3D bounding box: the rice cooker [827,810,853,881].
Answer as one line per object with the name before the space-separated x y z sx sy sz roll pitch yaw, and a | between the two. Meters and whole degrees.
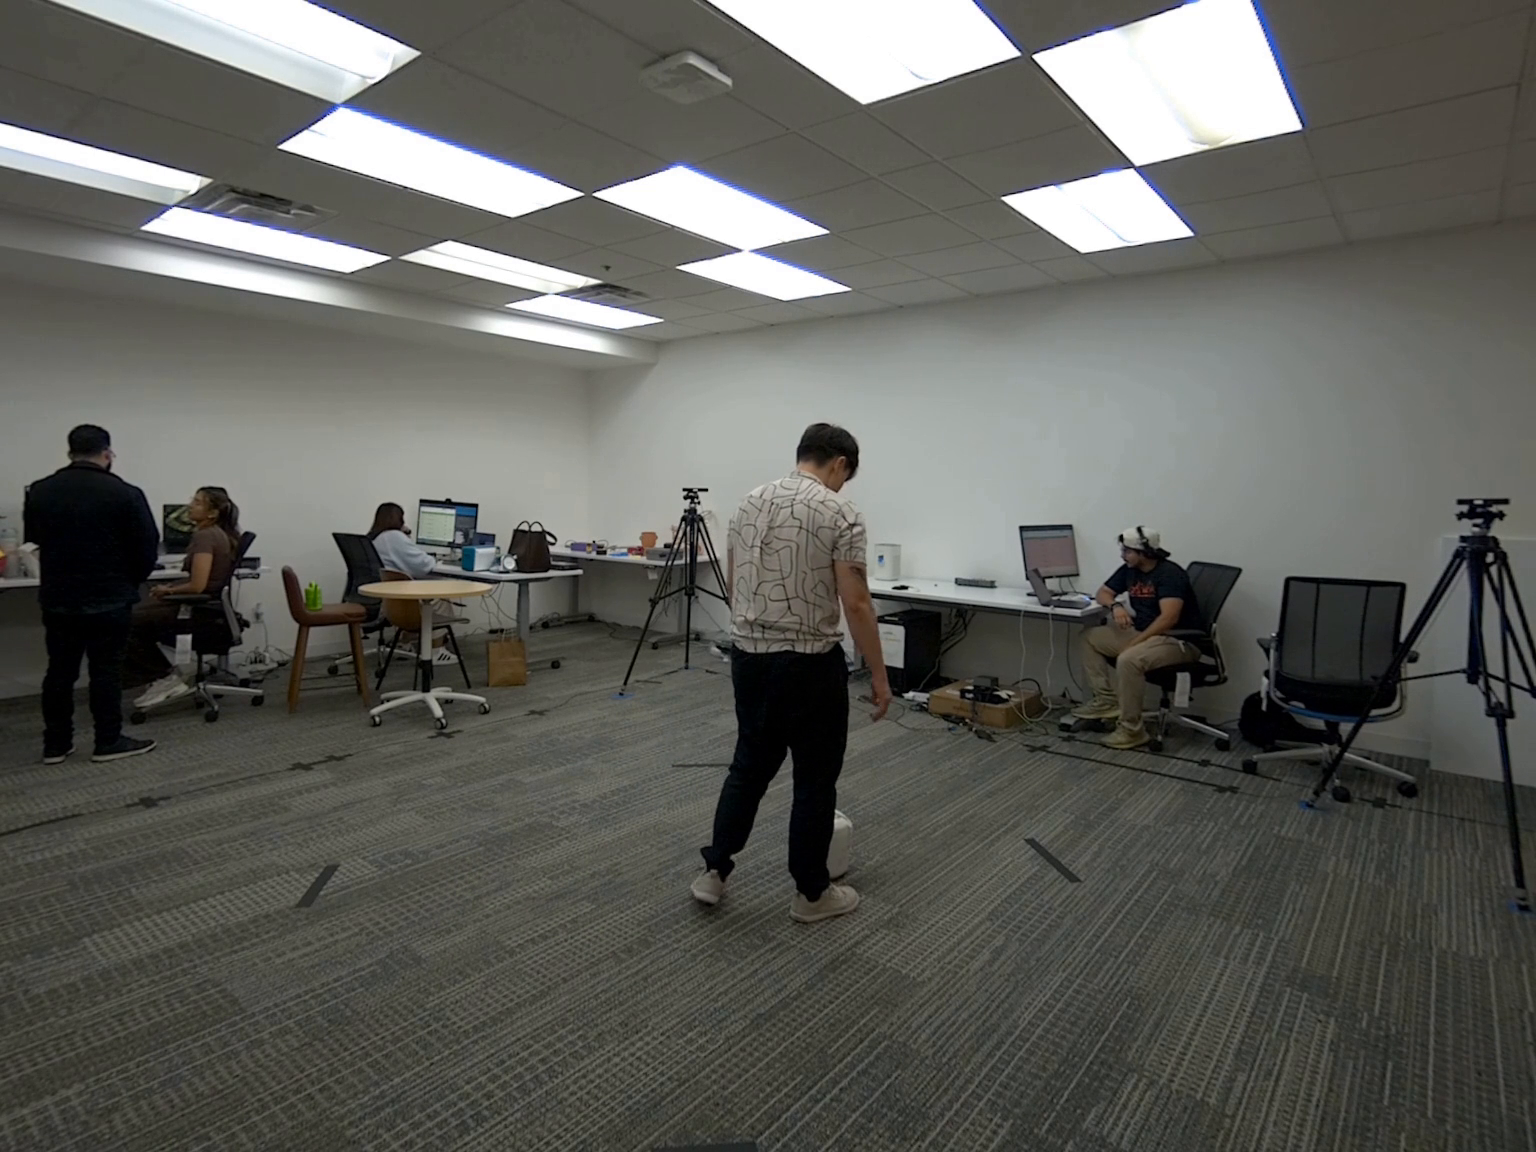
rice cooker | 0.190 0.963 3.123 0.223 0.232 0.216 0 3 8
